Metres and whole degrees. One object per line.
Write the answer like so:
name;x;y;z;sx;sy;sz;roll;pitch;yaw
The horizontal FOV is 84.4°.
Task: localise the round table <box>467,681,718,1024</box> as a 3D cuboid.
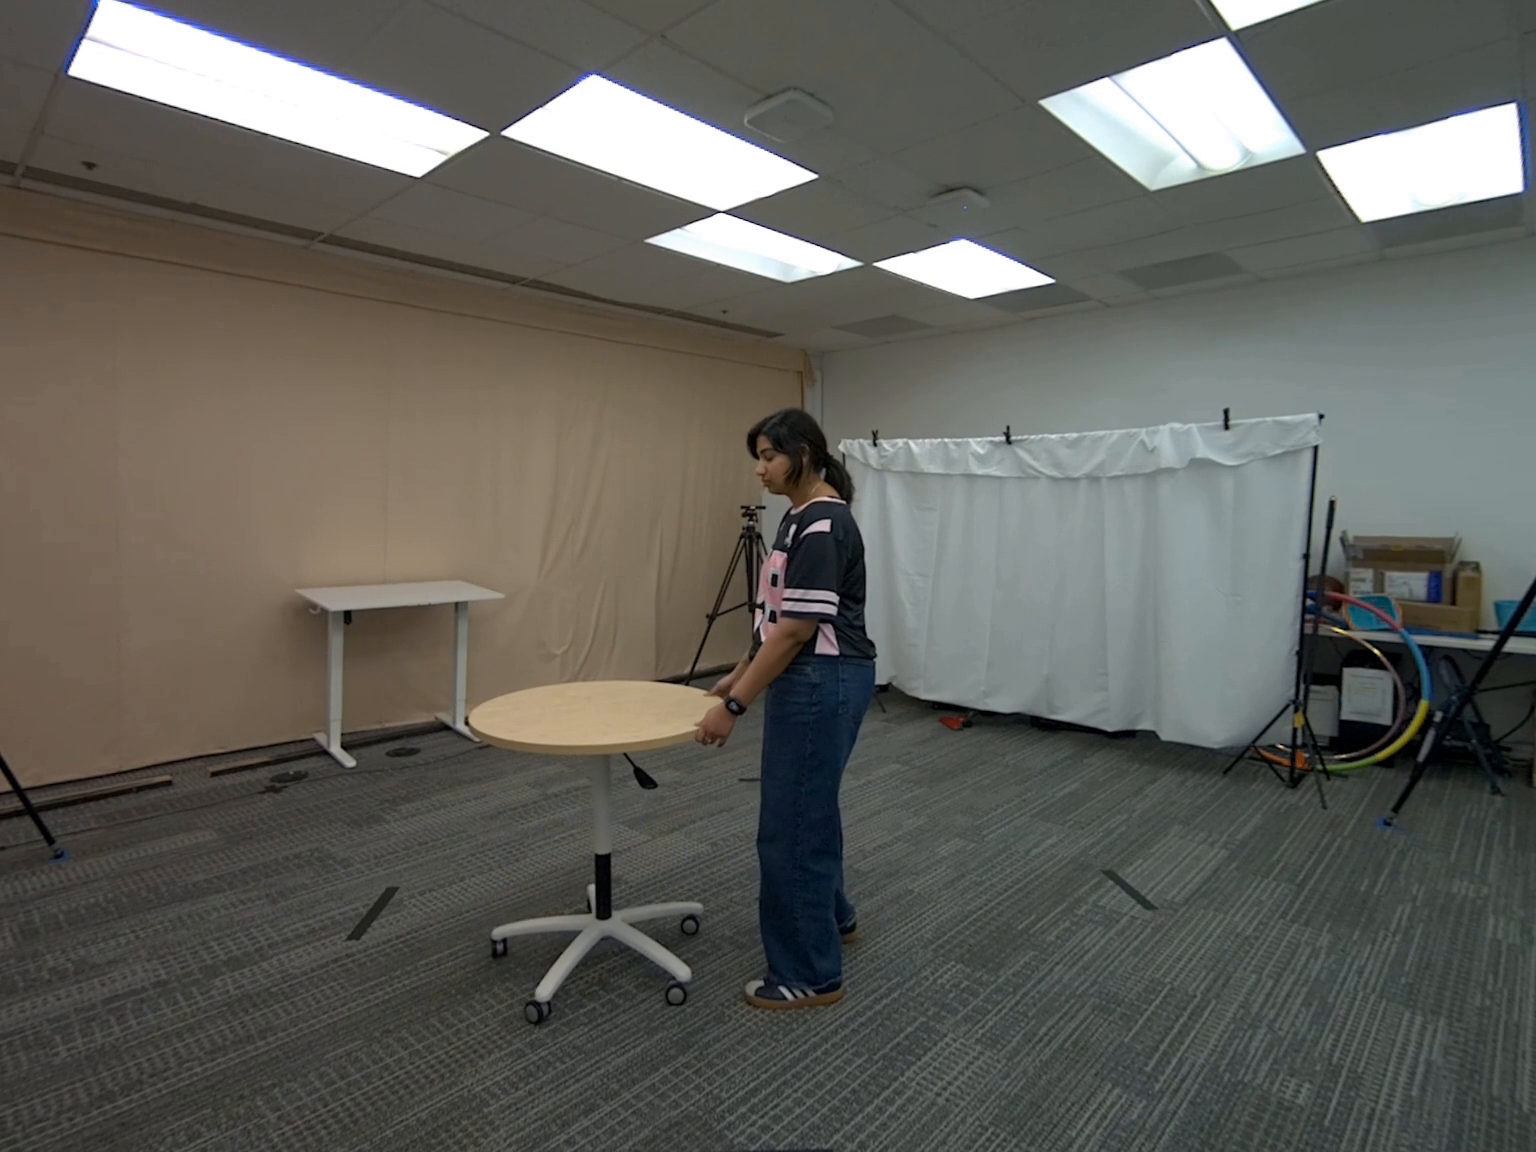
round table;-0.504;0.798;2.567;0.763;0.792;0.767;-1;4;-2
